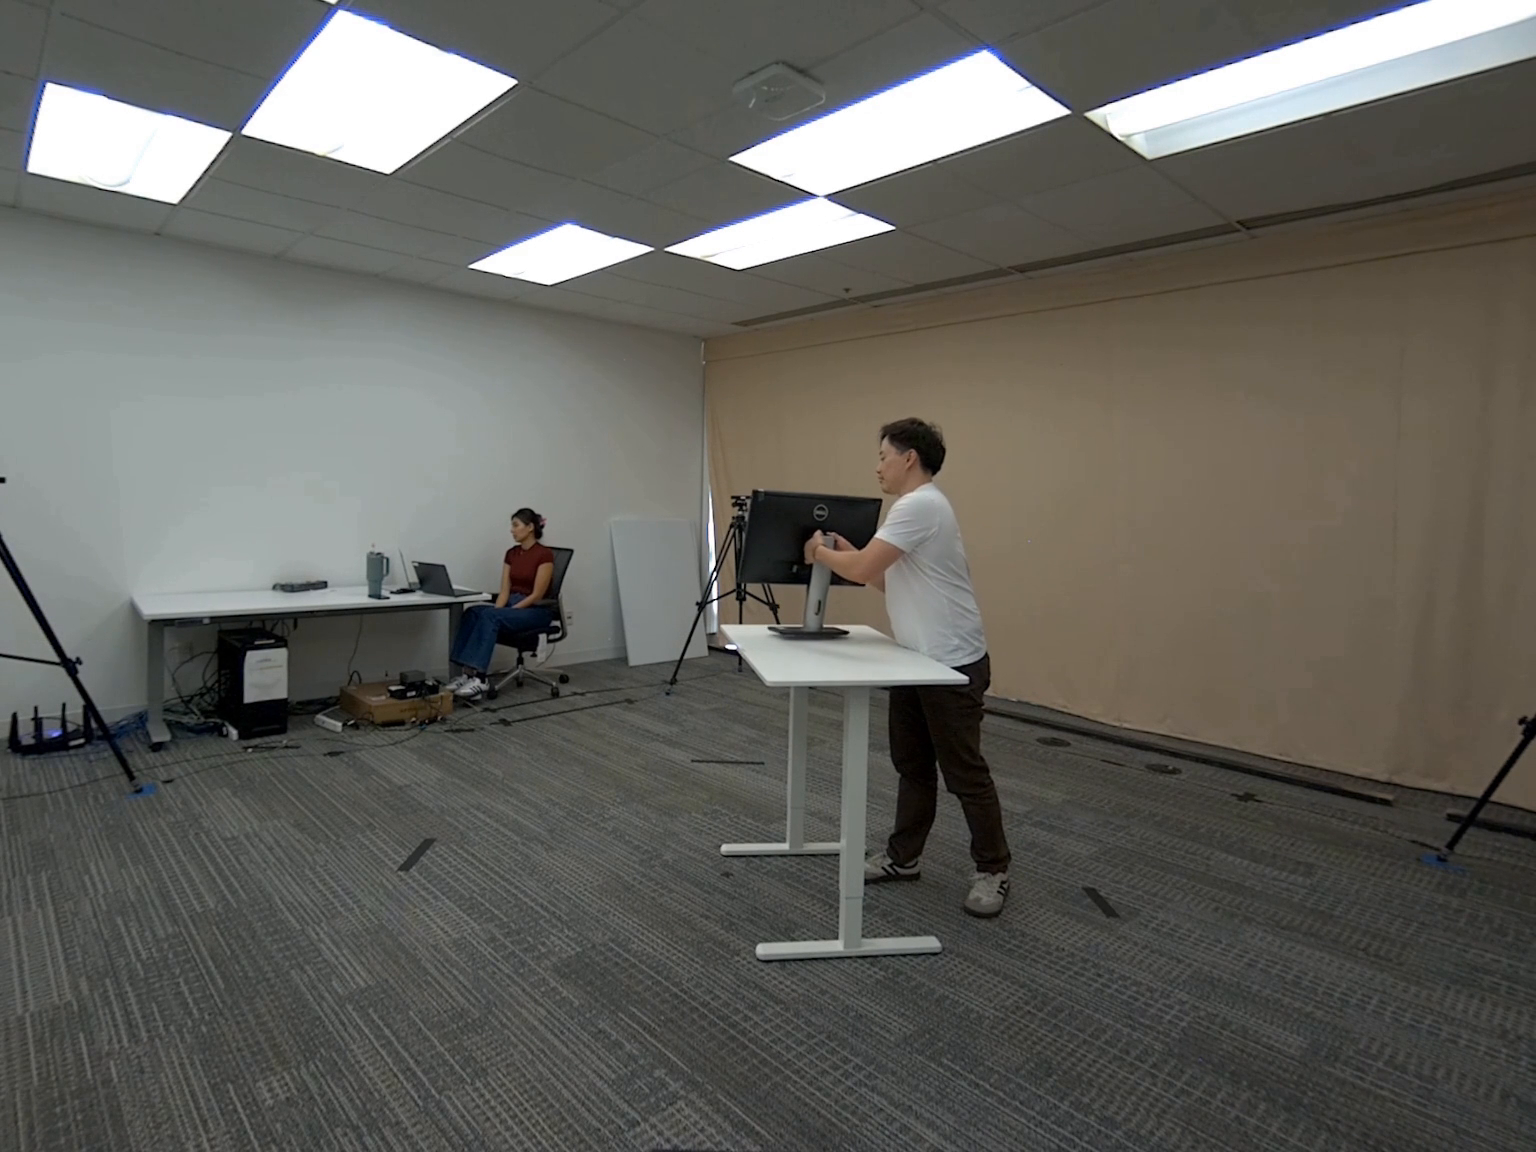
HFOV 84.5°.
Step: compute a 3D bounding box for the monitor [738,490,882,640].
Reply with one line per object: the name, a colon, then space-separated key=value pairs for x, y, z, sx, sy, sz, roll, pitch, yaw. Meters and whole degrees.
monitor: x=0.165 y=-0.044 z=3.094 sx=0.530 sy=0.521 sz=0.191 roll=2 pitch=3 yaw=-22
